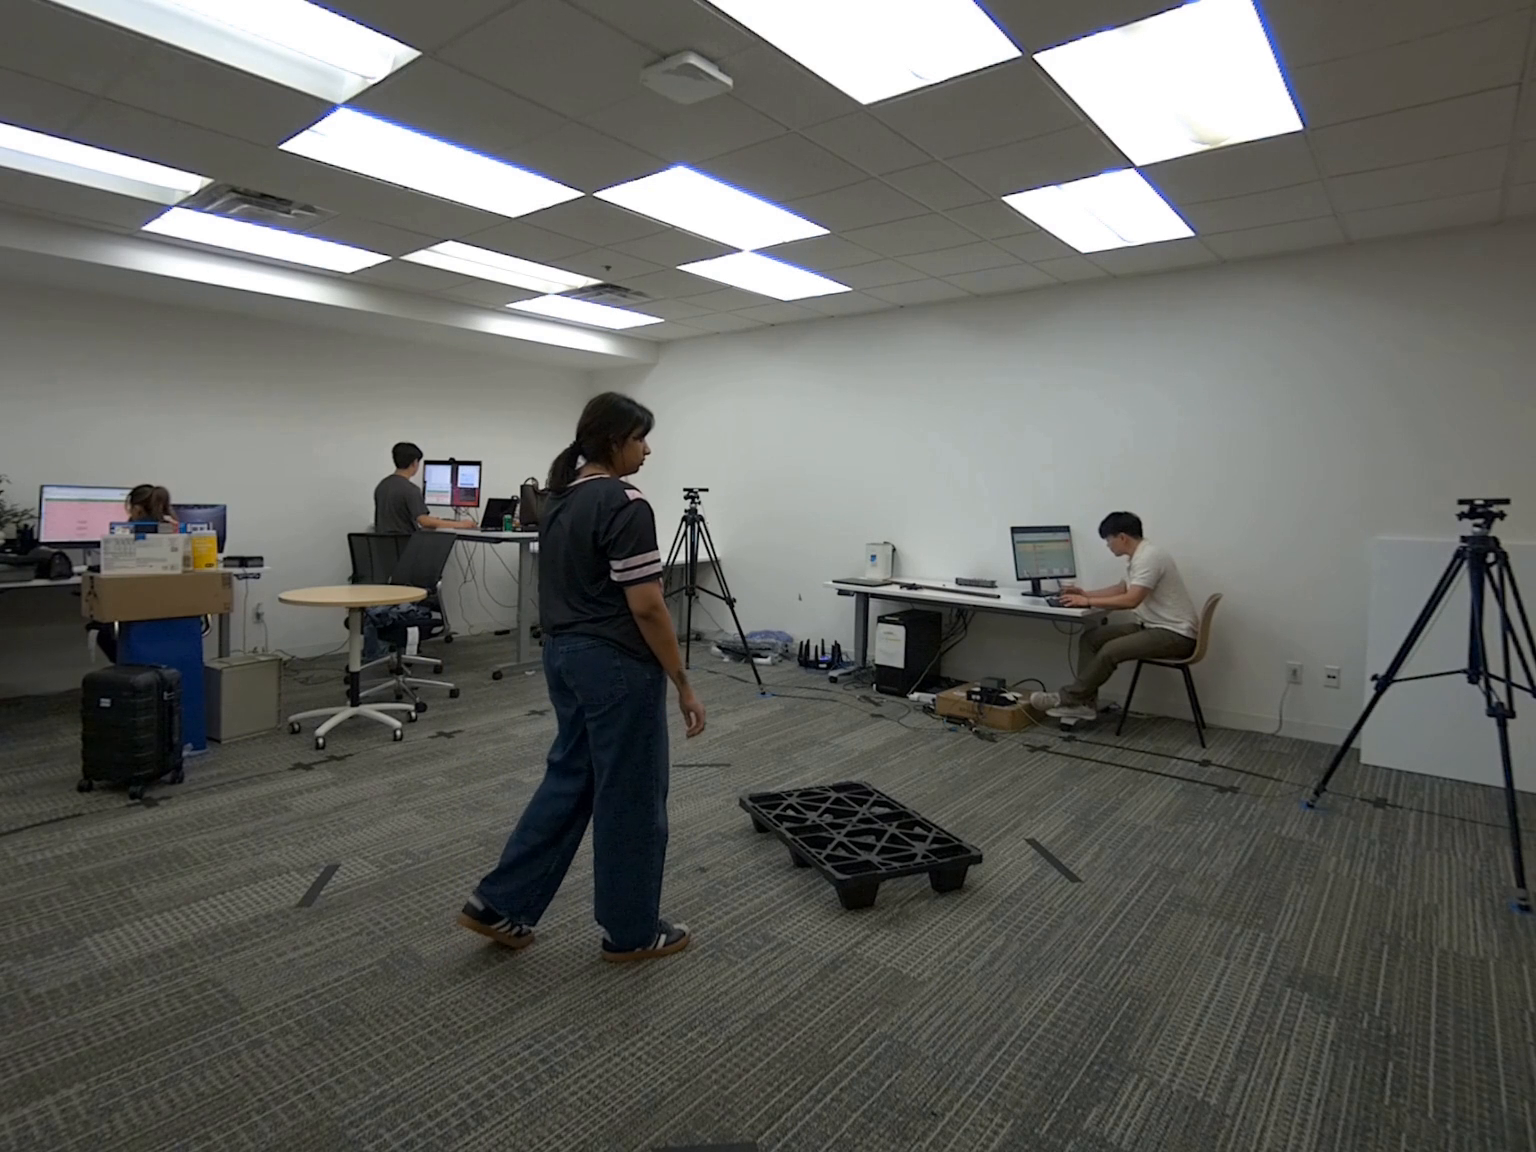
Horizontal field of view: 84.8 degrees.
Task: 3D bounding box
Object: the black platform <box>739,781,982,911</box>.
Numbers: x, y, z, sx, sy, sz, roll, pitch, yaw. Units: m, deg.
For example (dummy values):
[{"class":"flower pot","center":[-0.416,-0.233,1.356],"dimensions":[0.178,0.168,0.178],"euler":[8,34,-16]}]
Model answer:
[{"class":"black platform","center":[0.311,0.997,3.247],"dimensions":[0.591,0.143,0.828],"euler":[-1,6,-25]}]
